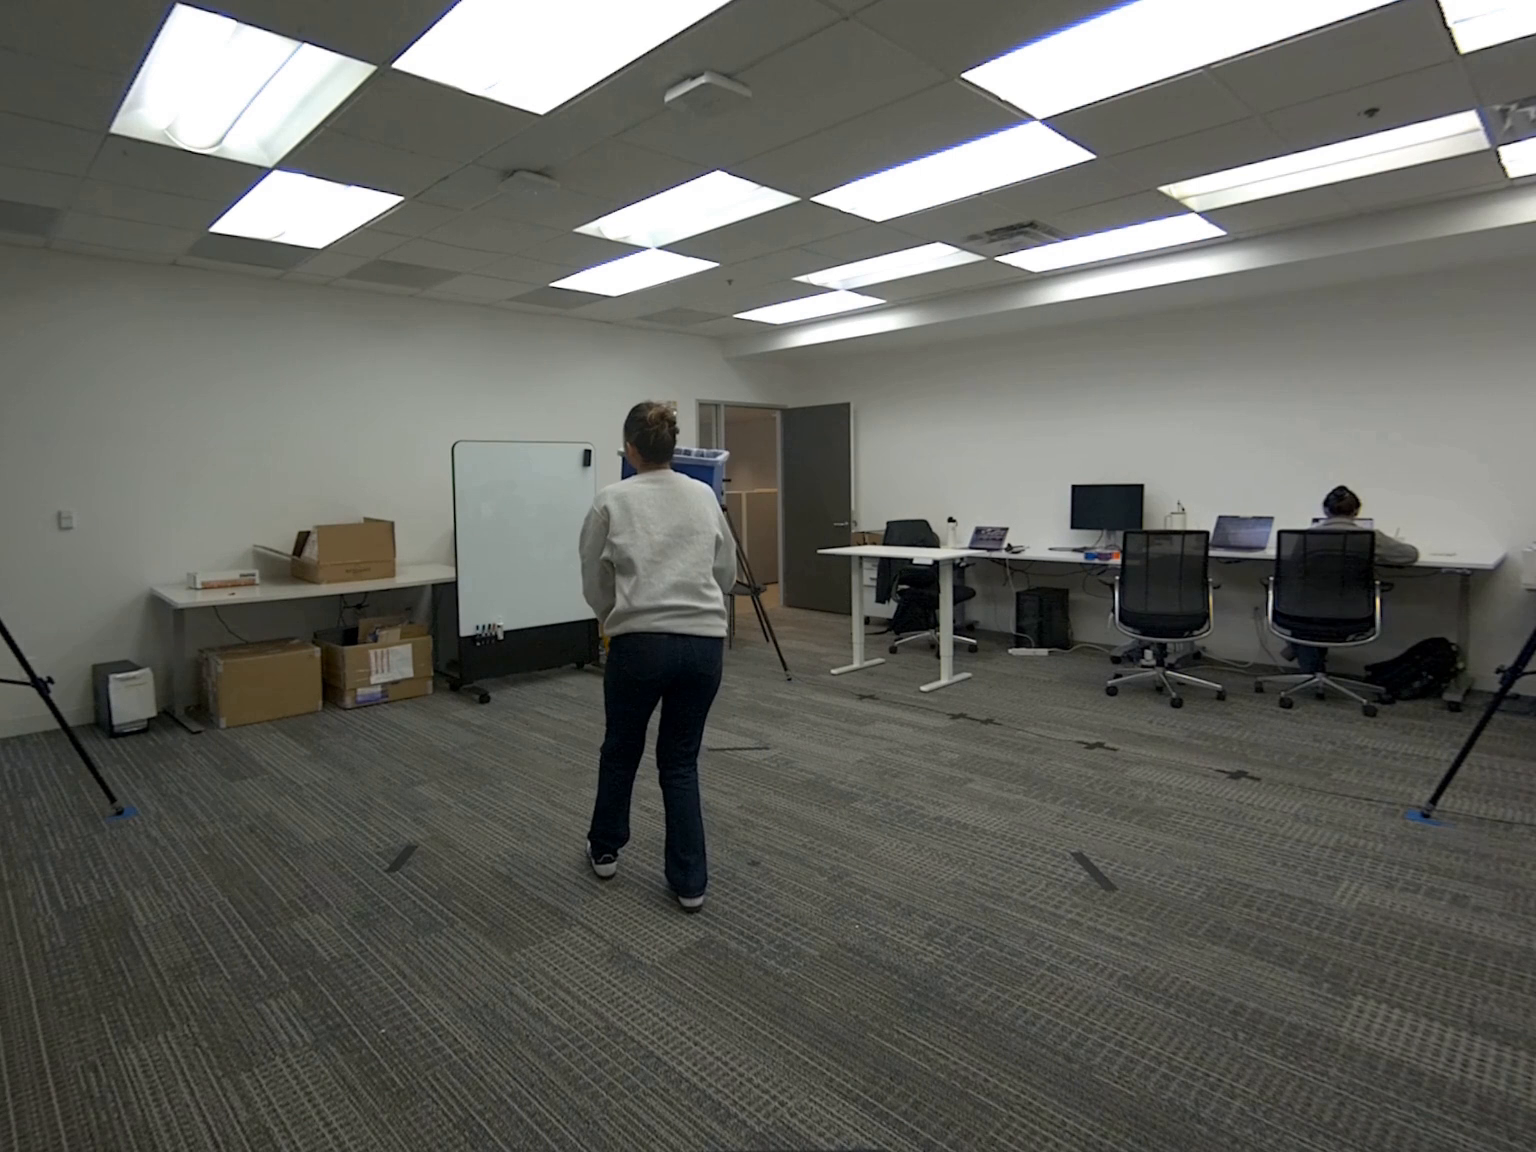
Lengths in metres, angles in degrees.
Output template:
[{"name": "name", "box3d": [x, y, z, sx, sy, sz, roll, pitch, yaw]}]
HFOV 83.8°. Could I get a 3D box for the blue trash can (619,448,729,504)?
[{"name": "blue trash can", "box3d": [-0.367, -0.117, 3.217, 0.379, 0.707, 0.376, 4, 10, 3]}]
